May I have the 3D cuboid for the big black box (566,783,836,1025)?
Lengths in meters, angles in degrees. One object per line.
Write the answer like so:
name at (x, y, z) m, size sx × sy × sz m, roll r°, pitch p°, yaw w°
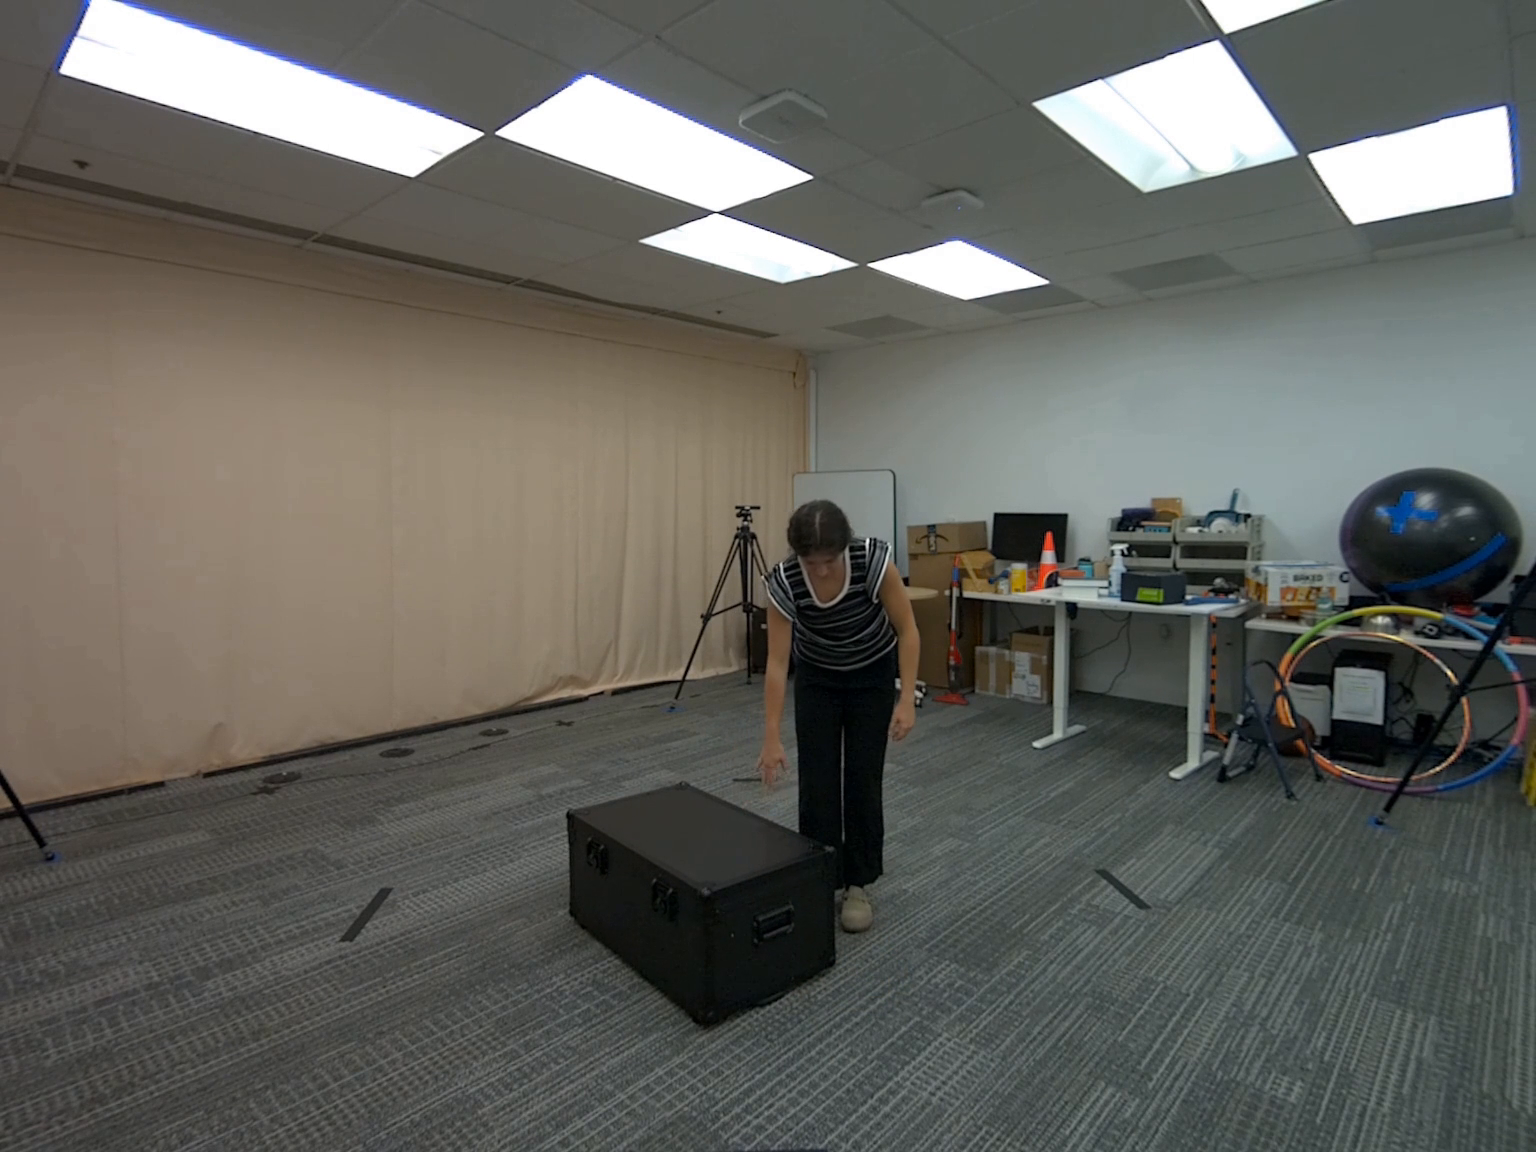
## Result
big black box at (-0.252, 0.981, 2.686) m, size 0.505 × 0.395 × 0.890 m, roll -3°, pitch 6°, yaw -39°
